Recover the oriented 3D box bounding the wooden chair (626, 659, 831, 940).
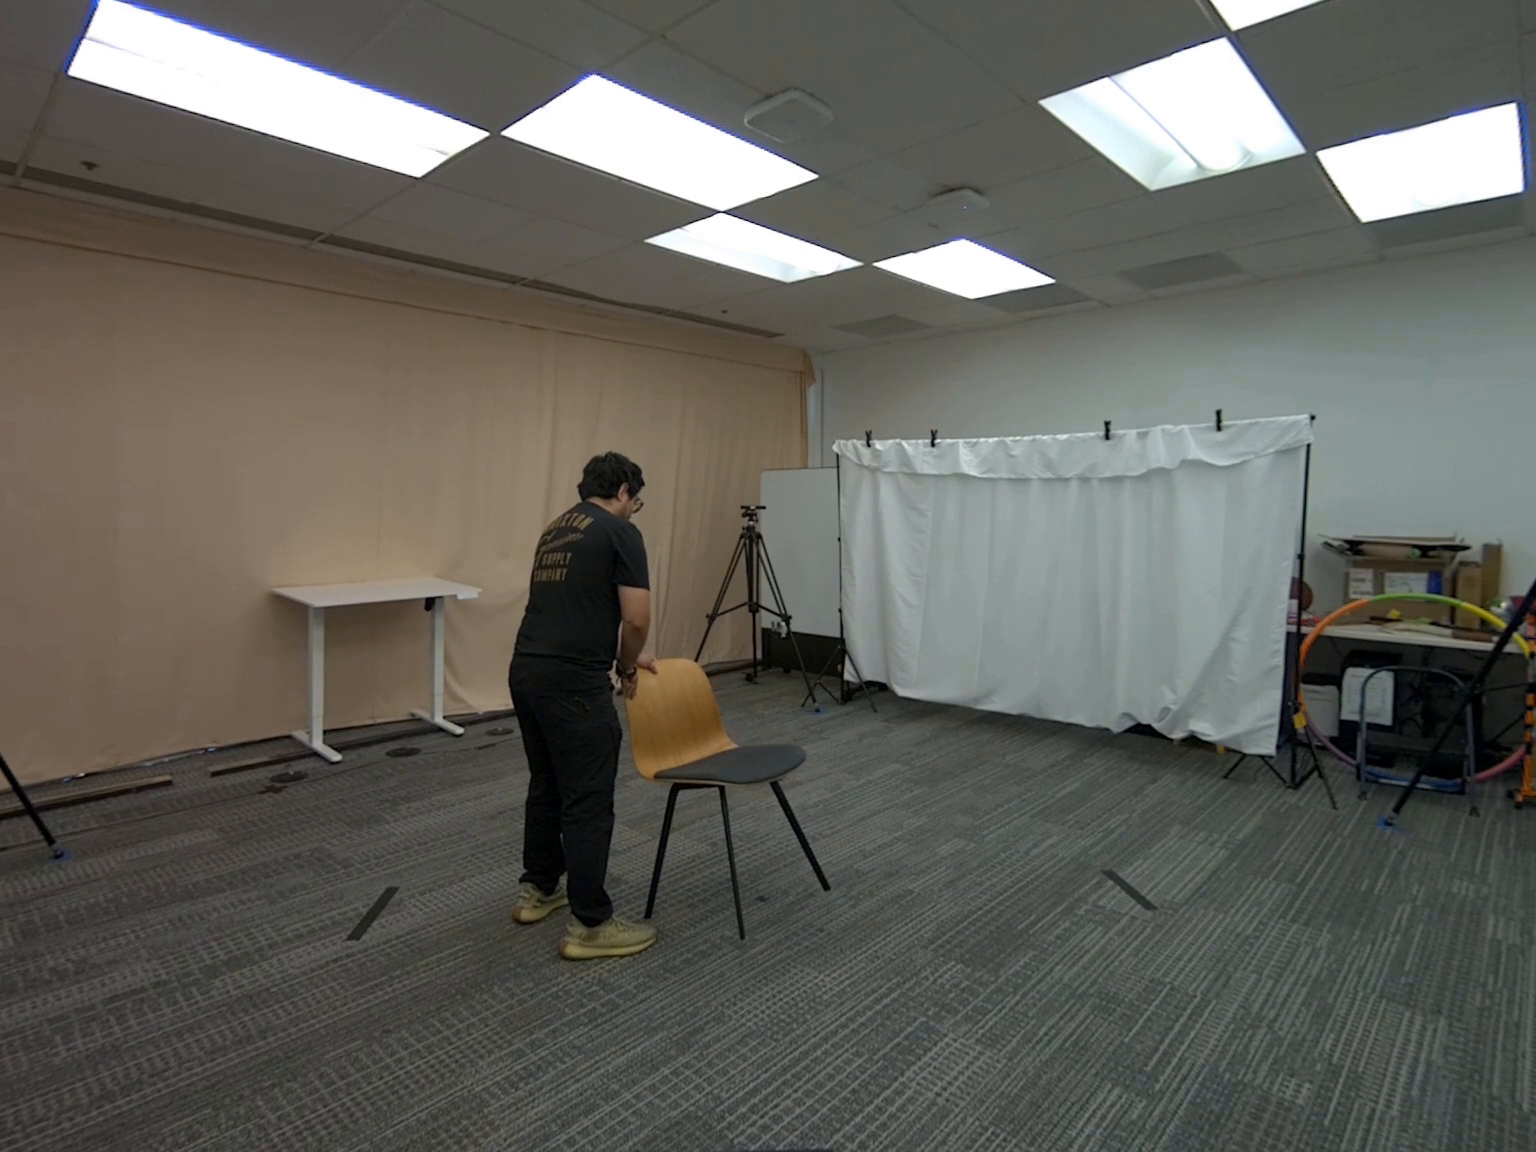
[{"bbox_3d":[-0.155,0.691,2.872,0.536,0.883,0.464,-18,-9,40],"label":"wooden chair"}]
